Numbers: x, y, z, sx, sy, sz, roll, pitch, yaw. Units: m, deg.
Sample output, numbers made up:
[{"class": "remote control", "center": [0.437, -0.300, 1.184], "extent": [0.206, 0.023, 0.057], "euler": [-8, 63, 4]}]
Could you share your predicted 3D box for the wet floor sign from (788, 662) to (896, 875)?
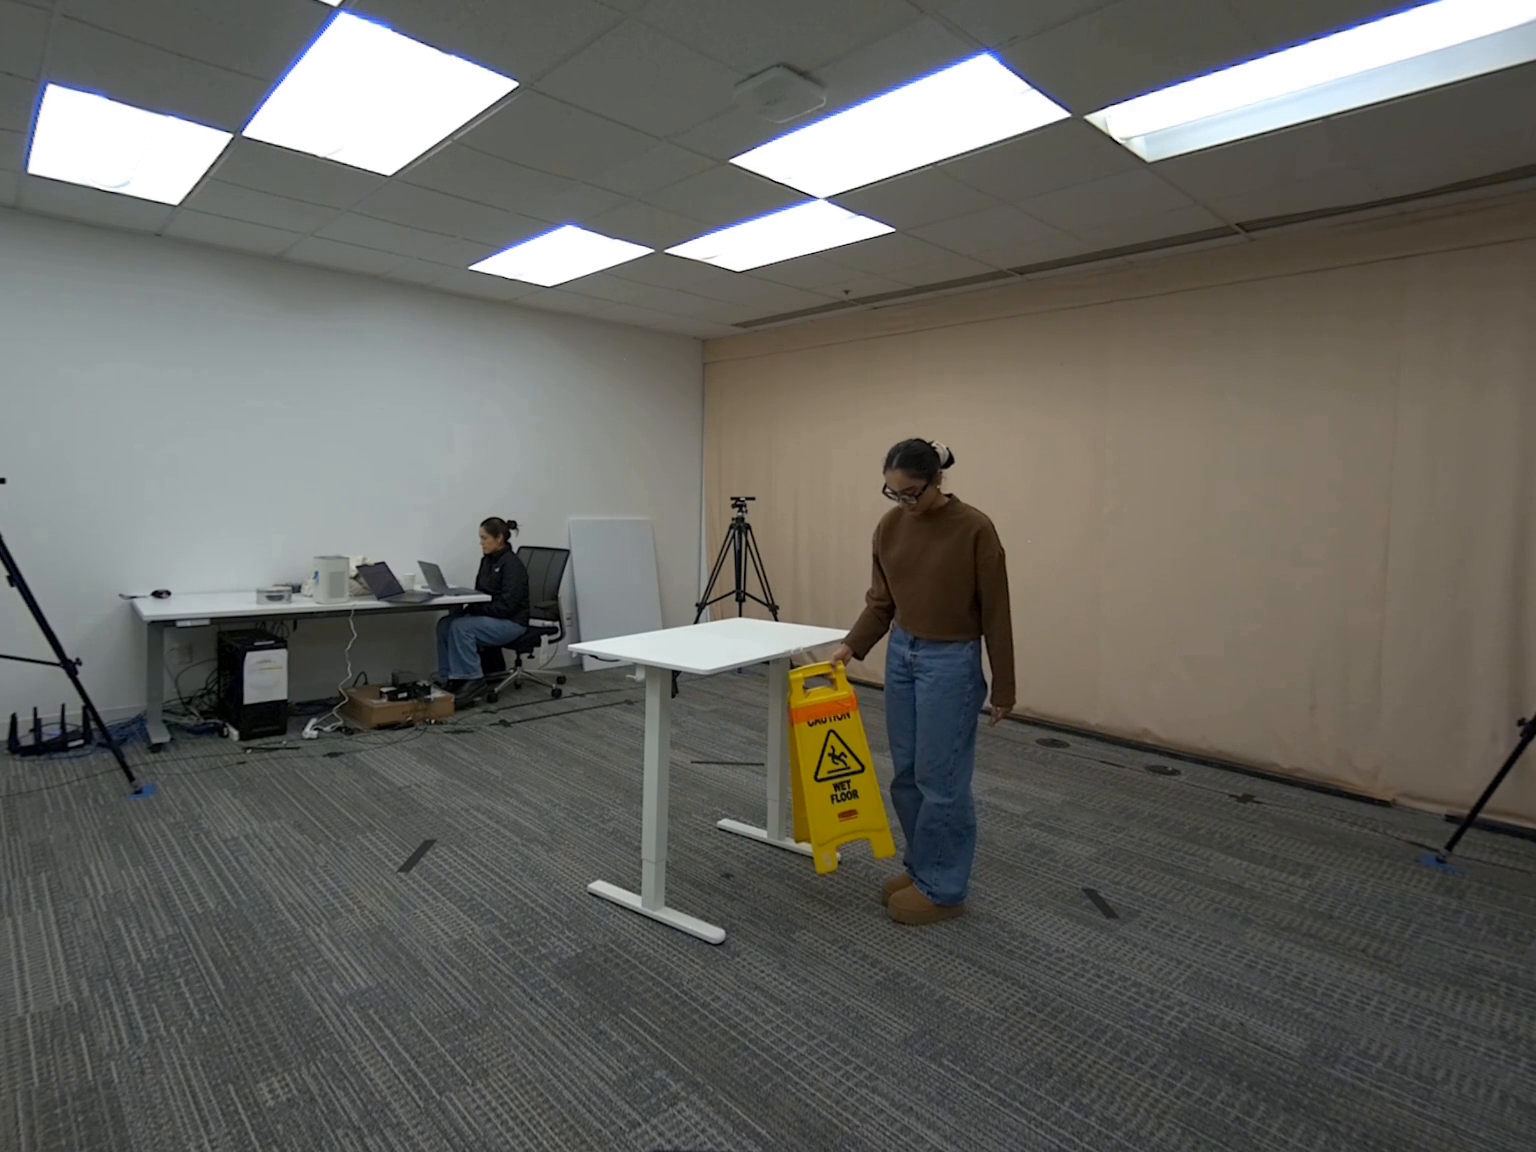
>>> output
[{"class": "wet floor sign", "center": [0.208, 0.626, 2.879], "extent": [0.280, 0.644, 0.293], "euler": [-8, 3, -13]}]
